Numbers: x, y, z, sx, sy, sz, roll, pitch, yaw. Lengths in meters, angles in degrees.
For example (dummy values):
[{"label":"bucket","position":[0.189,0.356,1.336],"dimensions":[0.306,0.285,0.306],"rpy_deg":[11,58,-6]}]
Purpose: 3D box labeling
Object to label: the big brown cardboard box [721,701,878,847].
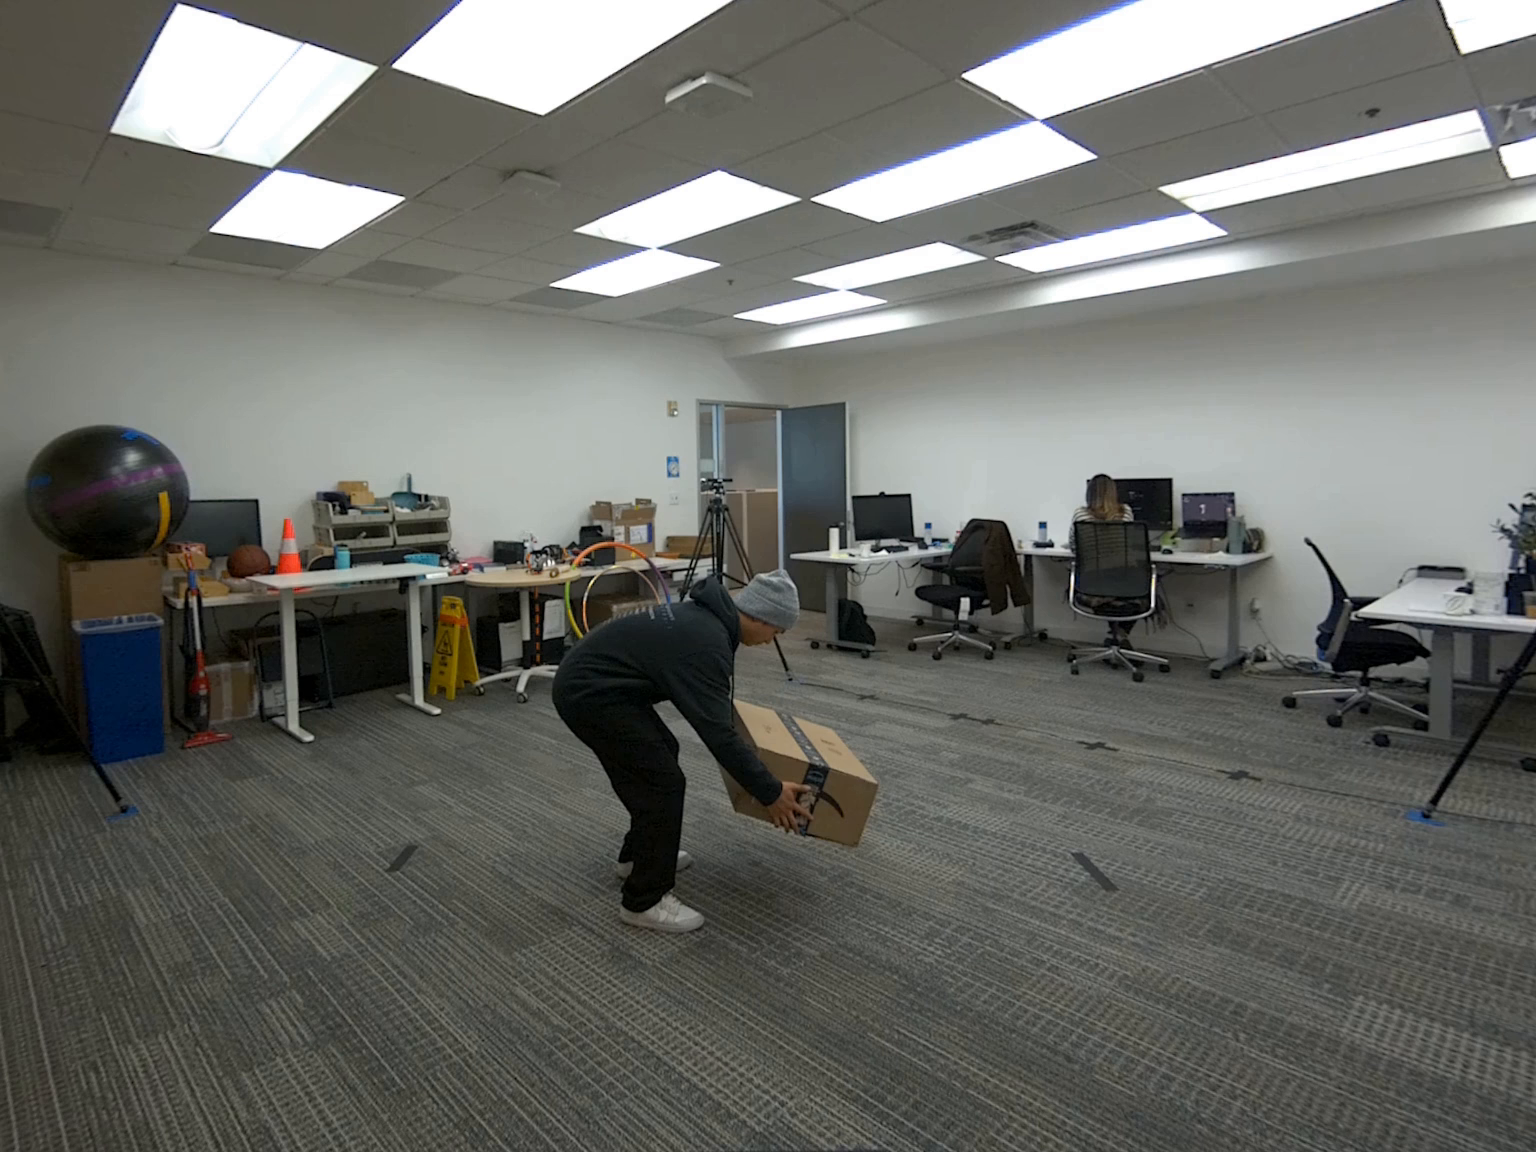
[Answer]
[{"label":"big brown cardboard box","position":[0.079,0.655,2.916],"dimensions":[0.413,0.233,0.597],"rpy_deg":[19,4,-11]}]
